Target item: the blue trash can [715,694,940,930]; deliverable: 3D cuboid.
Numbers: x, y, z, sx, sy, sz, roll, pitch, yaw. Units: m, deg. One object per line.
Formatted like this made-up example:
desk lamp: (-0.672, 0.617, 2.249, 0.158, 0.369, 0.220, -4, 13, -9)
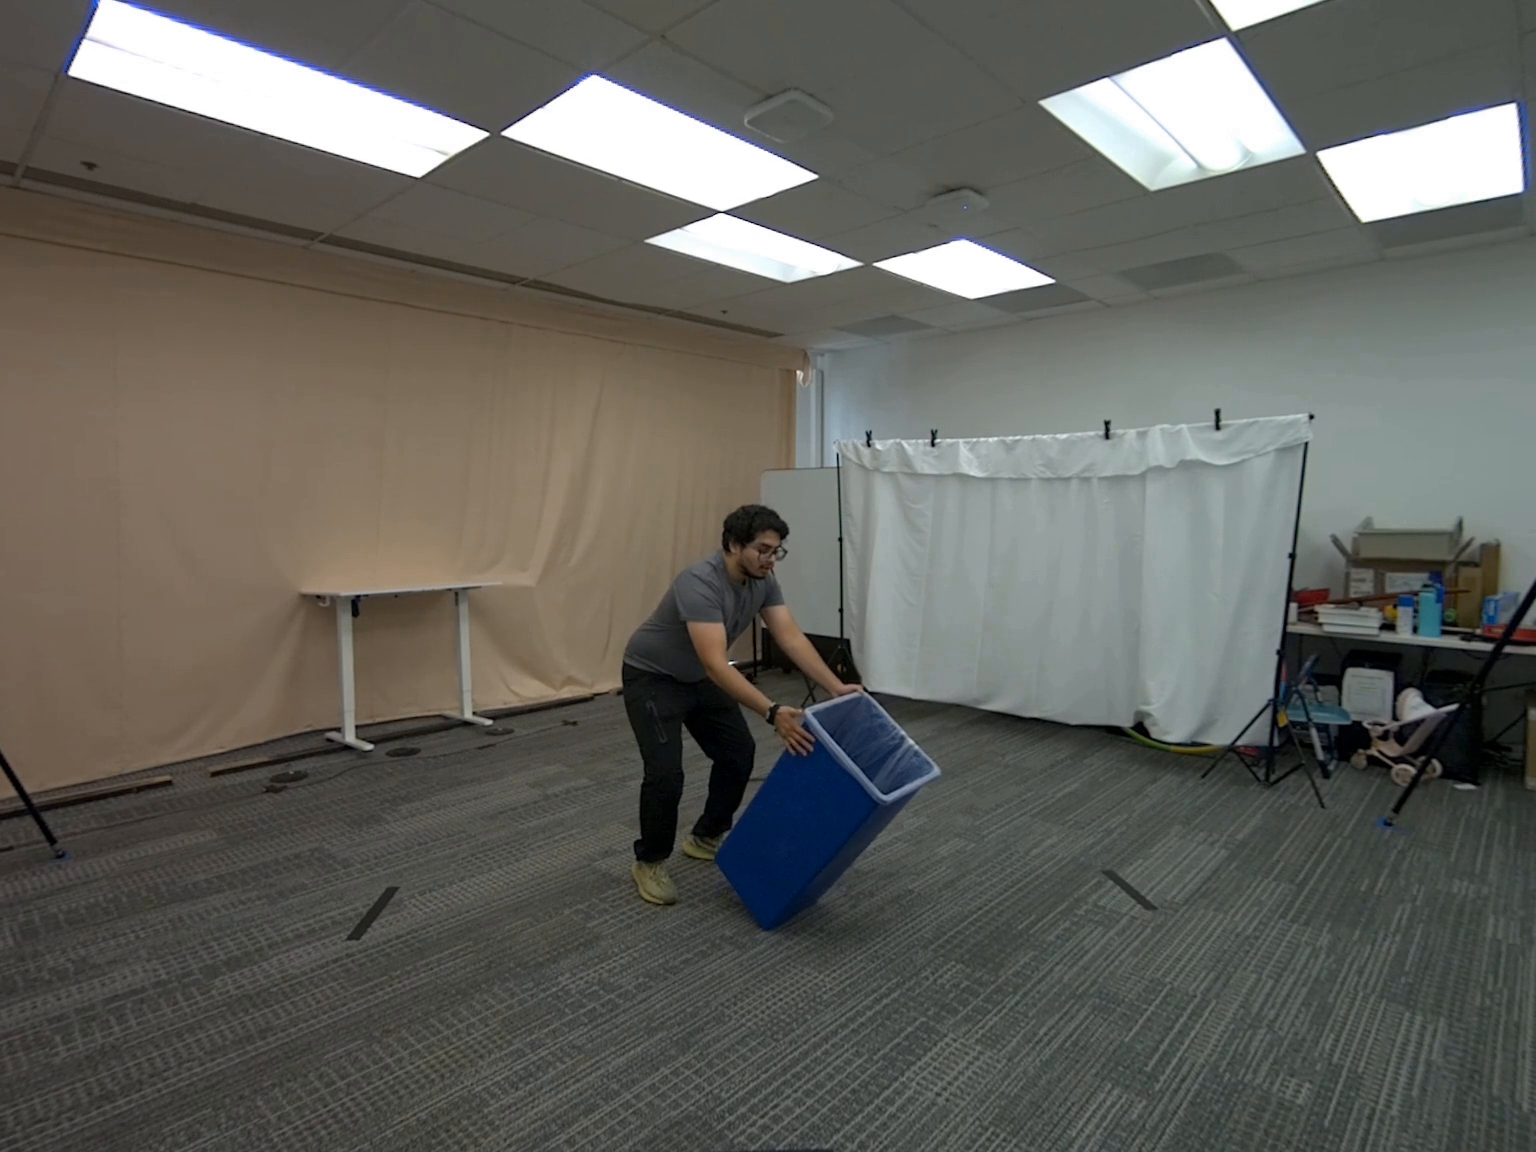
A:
blue trash can: (0.164, 0.789, 2.767, 0.363, 0.713, 0.390, -4, 42, -51)
